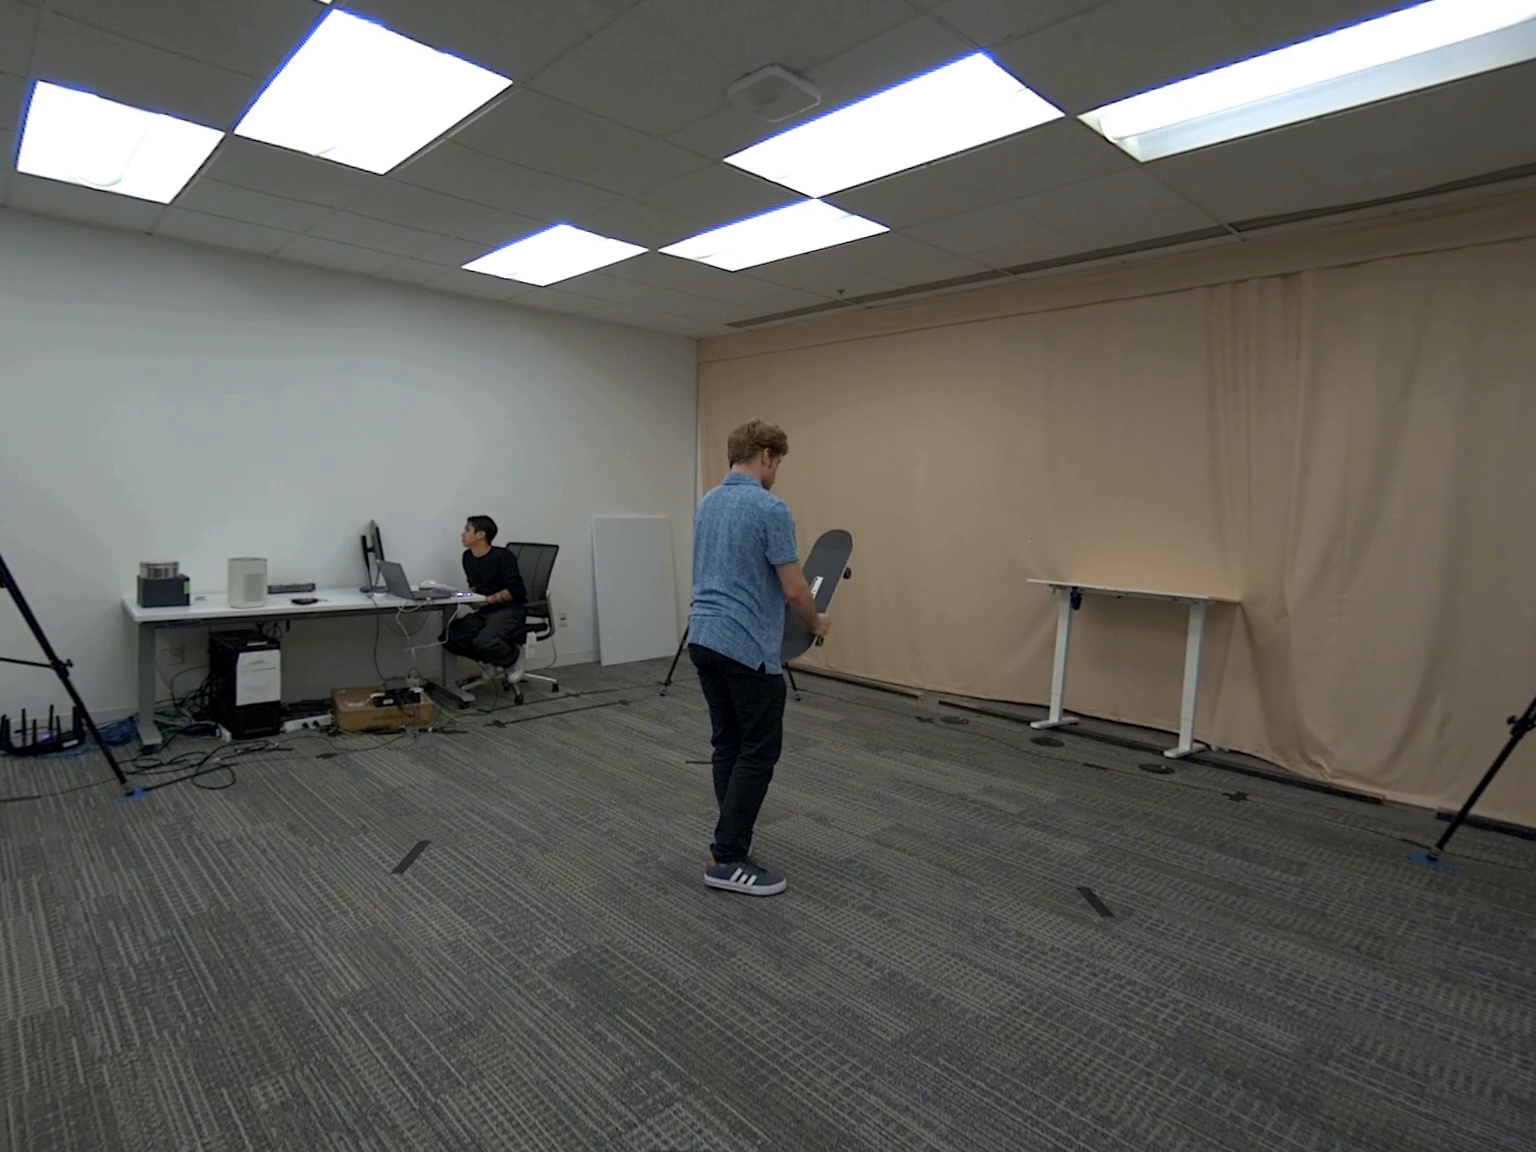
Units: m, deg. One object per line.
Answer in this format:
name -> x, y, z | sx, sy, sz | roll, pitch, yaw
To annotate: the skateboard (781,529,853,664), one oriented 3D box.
skateboard -> 0.182, 0.100, 3.455 | 0.197, 0.107, 0.792 | 0, 41, 25
